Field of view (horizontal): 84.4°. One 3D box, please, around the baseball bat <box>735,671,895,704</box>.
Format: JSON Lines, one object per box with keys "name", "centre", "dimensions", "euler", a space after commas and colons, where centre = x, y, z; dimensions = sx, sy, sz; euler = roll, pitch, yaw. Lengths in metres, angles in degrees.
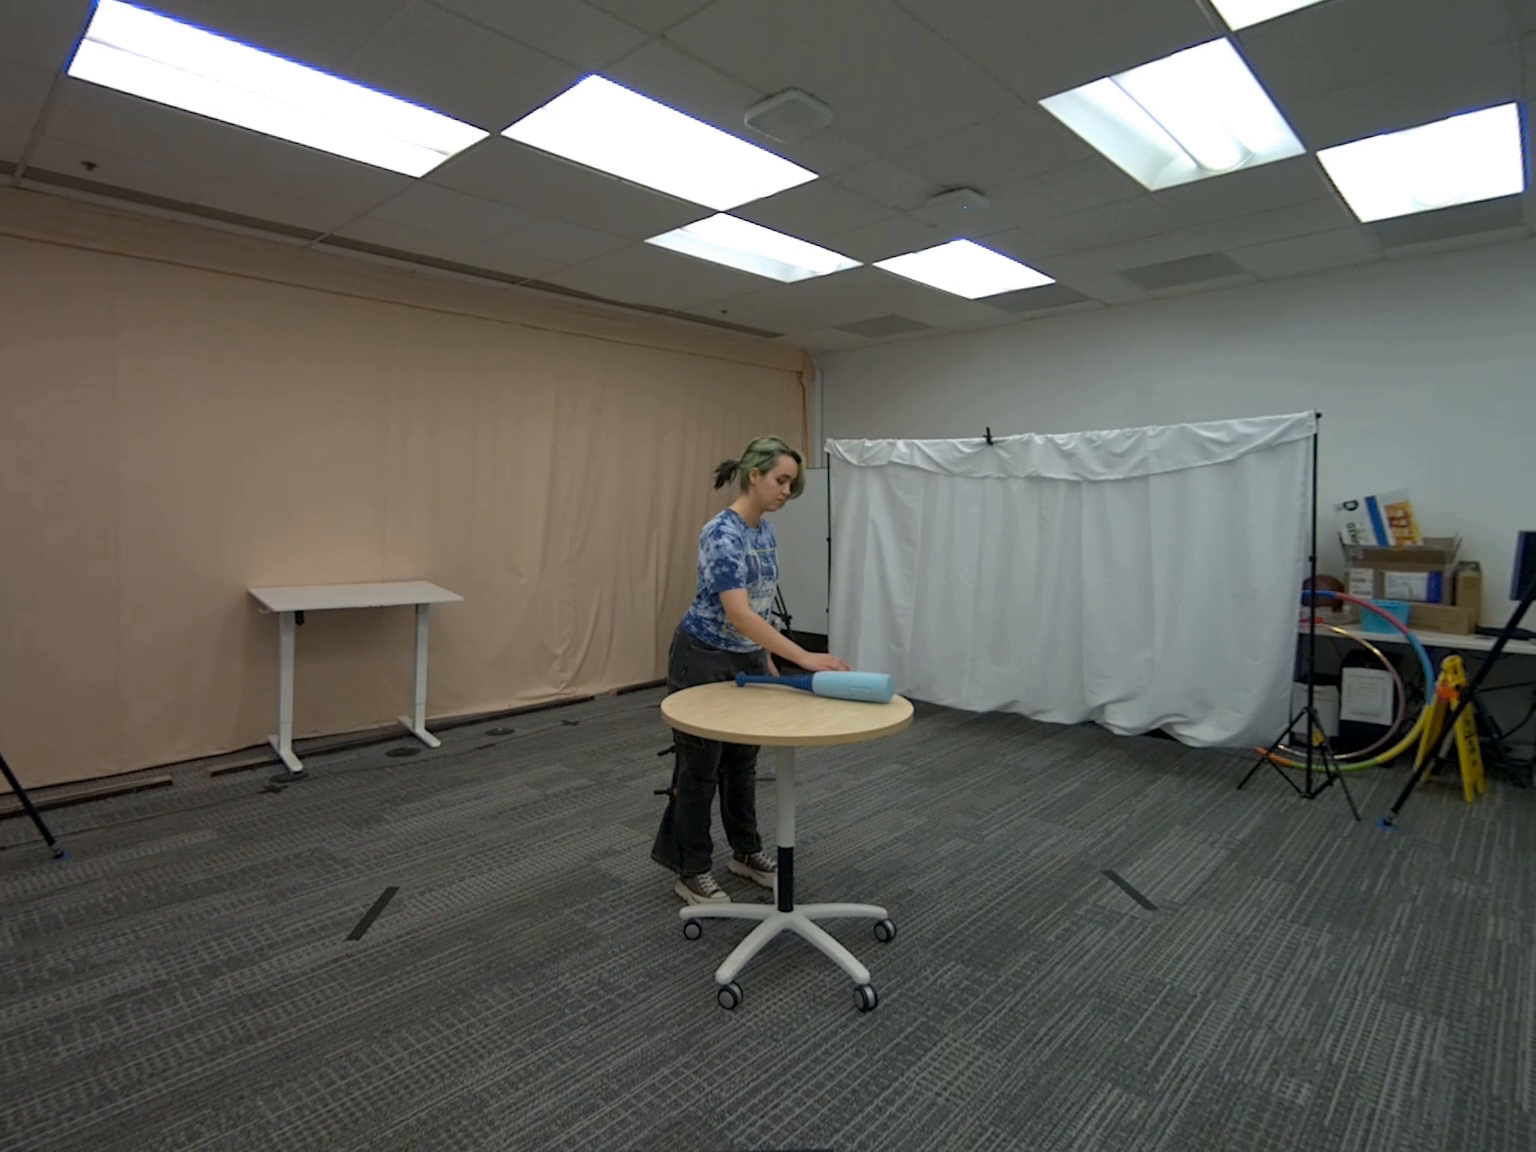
{"name": "baseball bat", "centre": [0.139, 0.351, 2.694], "dimensions": [0.557, 0.089, 0.087], "euler": [-2, 2, 28]}
